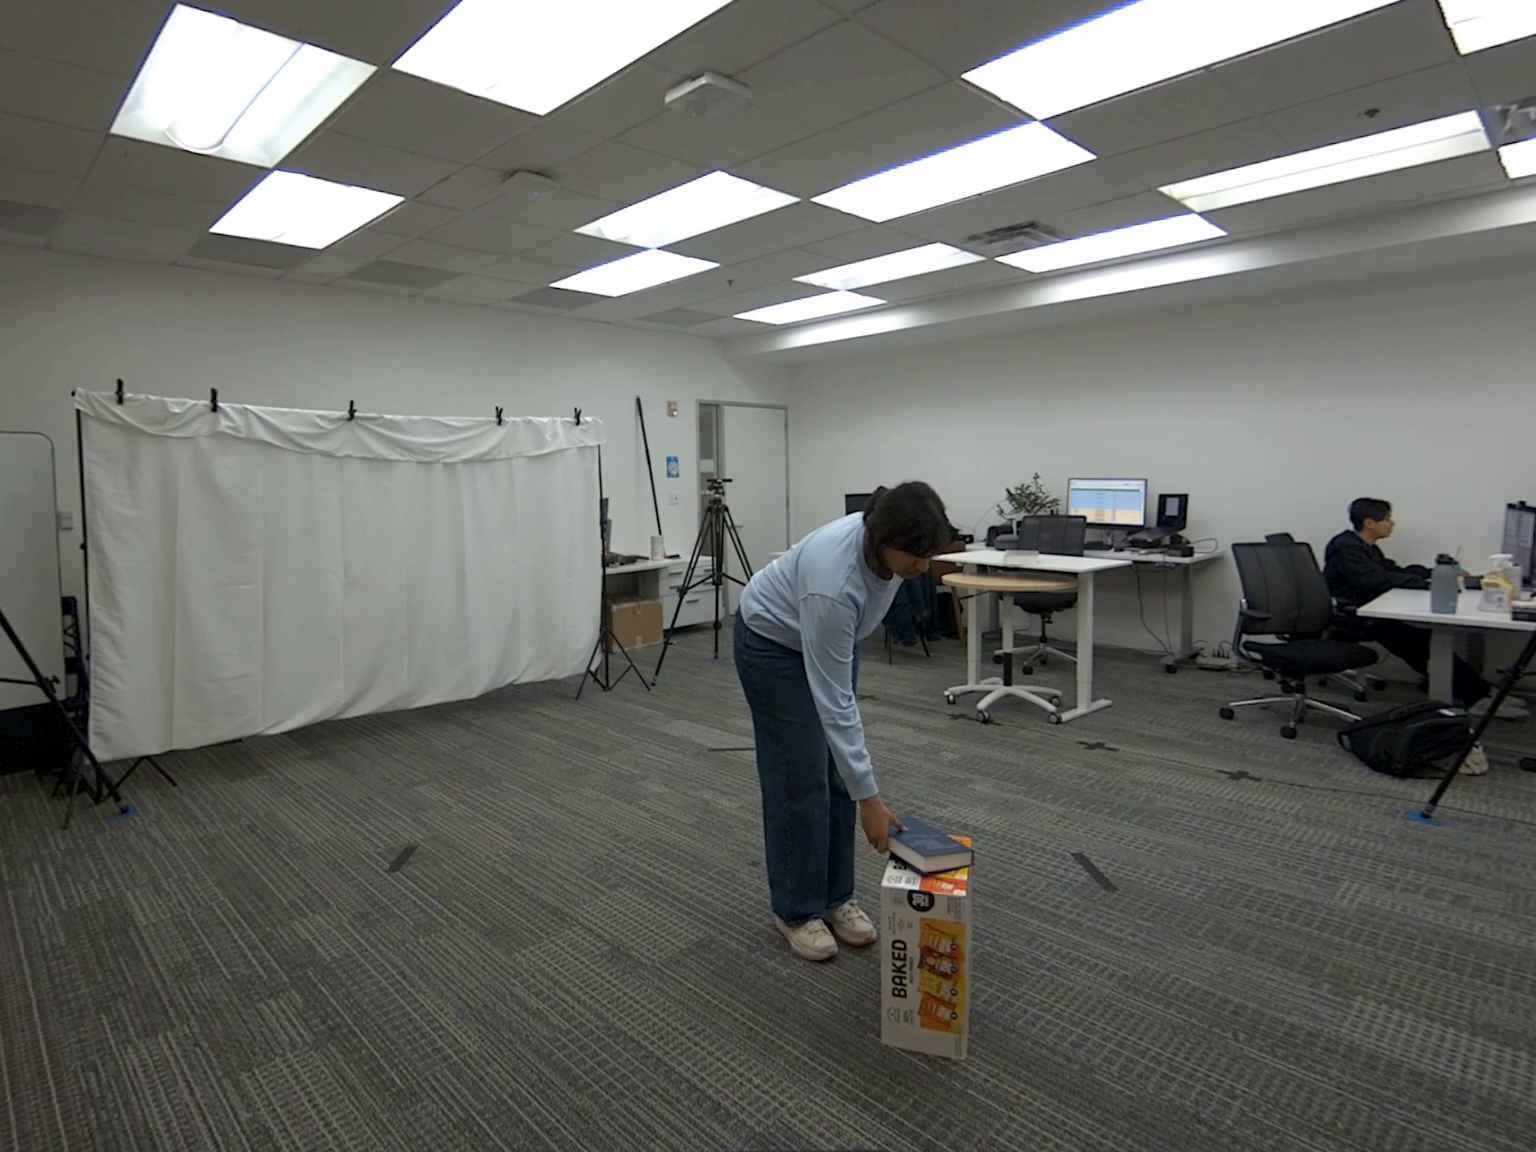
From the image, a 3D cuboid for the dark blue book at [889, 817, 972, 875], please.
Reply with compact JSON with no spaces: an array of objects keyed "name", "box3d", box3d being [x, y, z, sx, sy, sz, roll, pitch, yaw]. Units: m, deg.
[{"name":"dark blue book","box3d":[0.411,0.708,2.236,0.159,0.045,0.252,2,4,-29]}]
